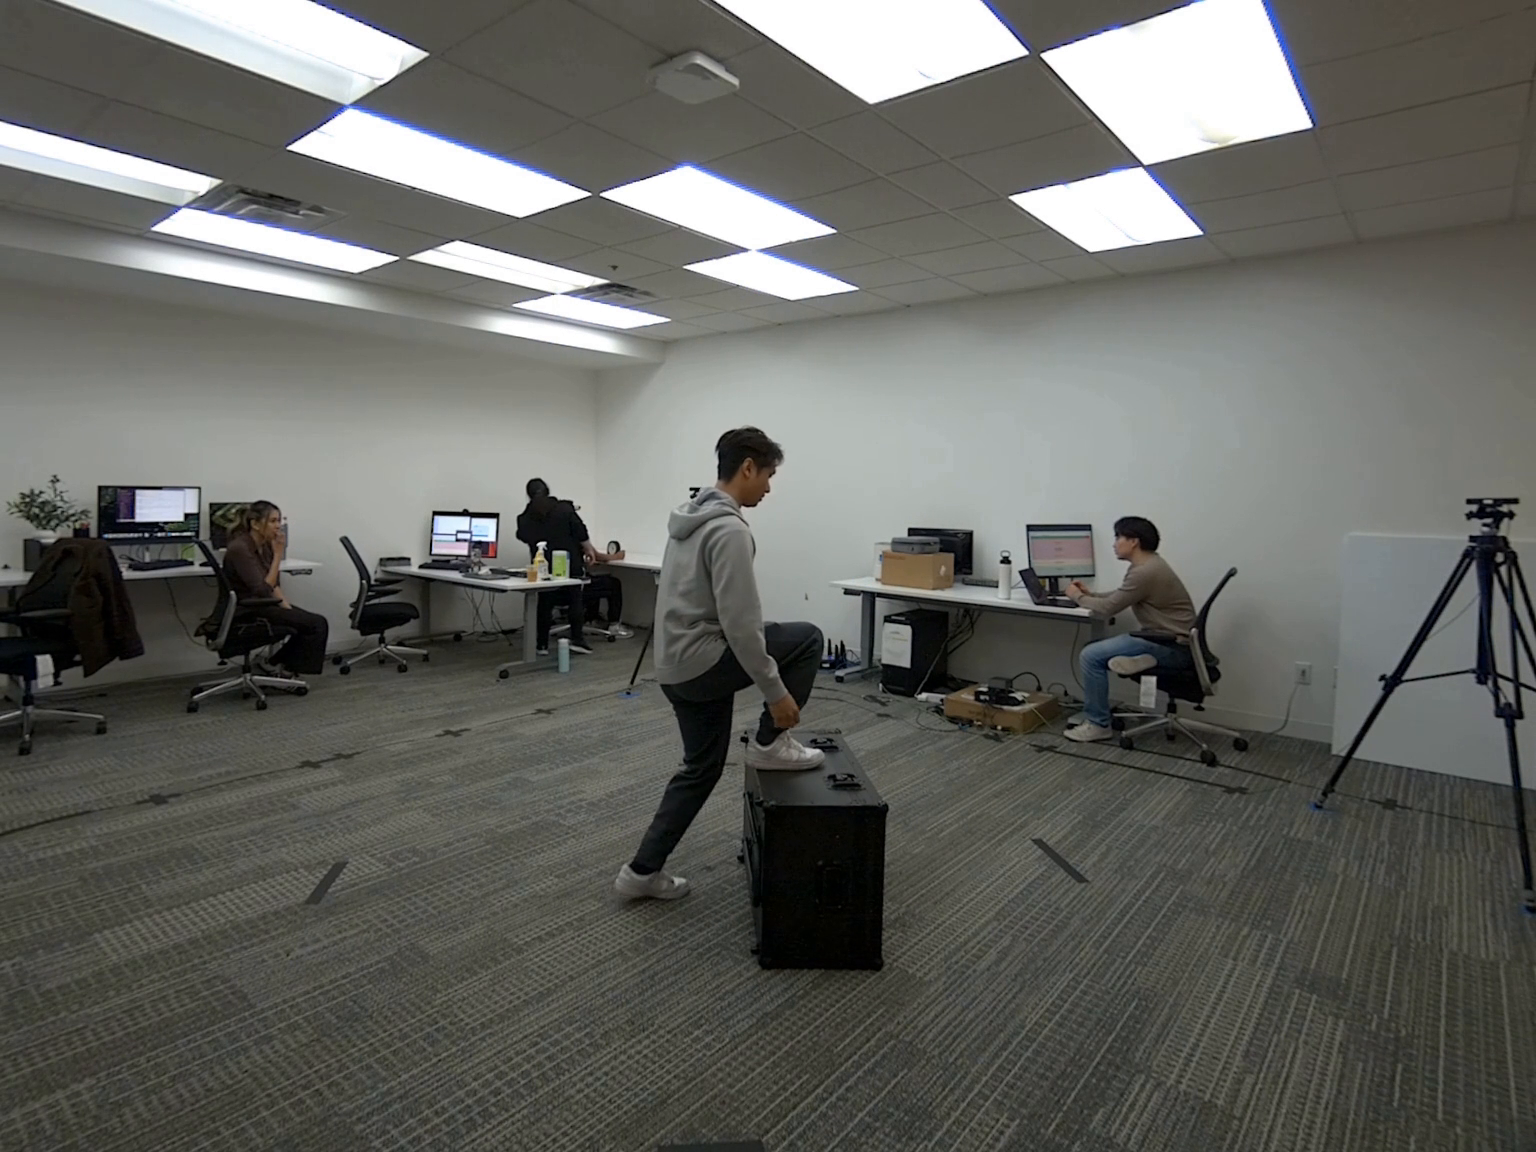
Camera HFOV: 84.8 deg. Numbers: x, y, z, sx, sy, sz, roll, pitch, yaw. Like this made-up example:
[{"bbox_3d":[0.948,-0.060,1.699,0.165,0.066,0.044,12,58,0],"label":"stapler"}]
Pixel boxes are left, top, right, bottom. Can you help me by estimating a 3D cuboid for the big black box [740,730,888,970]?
[{"bbox_3d":[0.101,0.855,2.870,0.395,0.519,0.868,1,5,-5],"label":"big black box"}]
